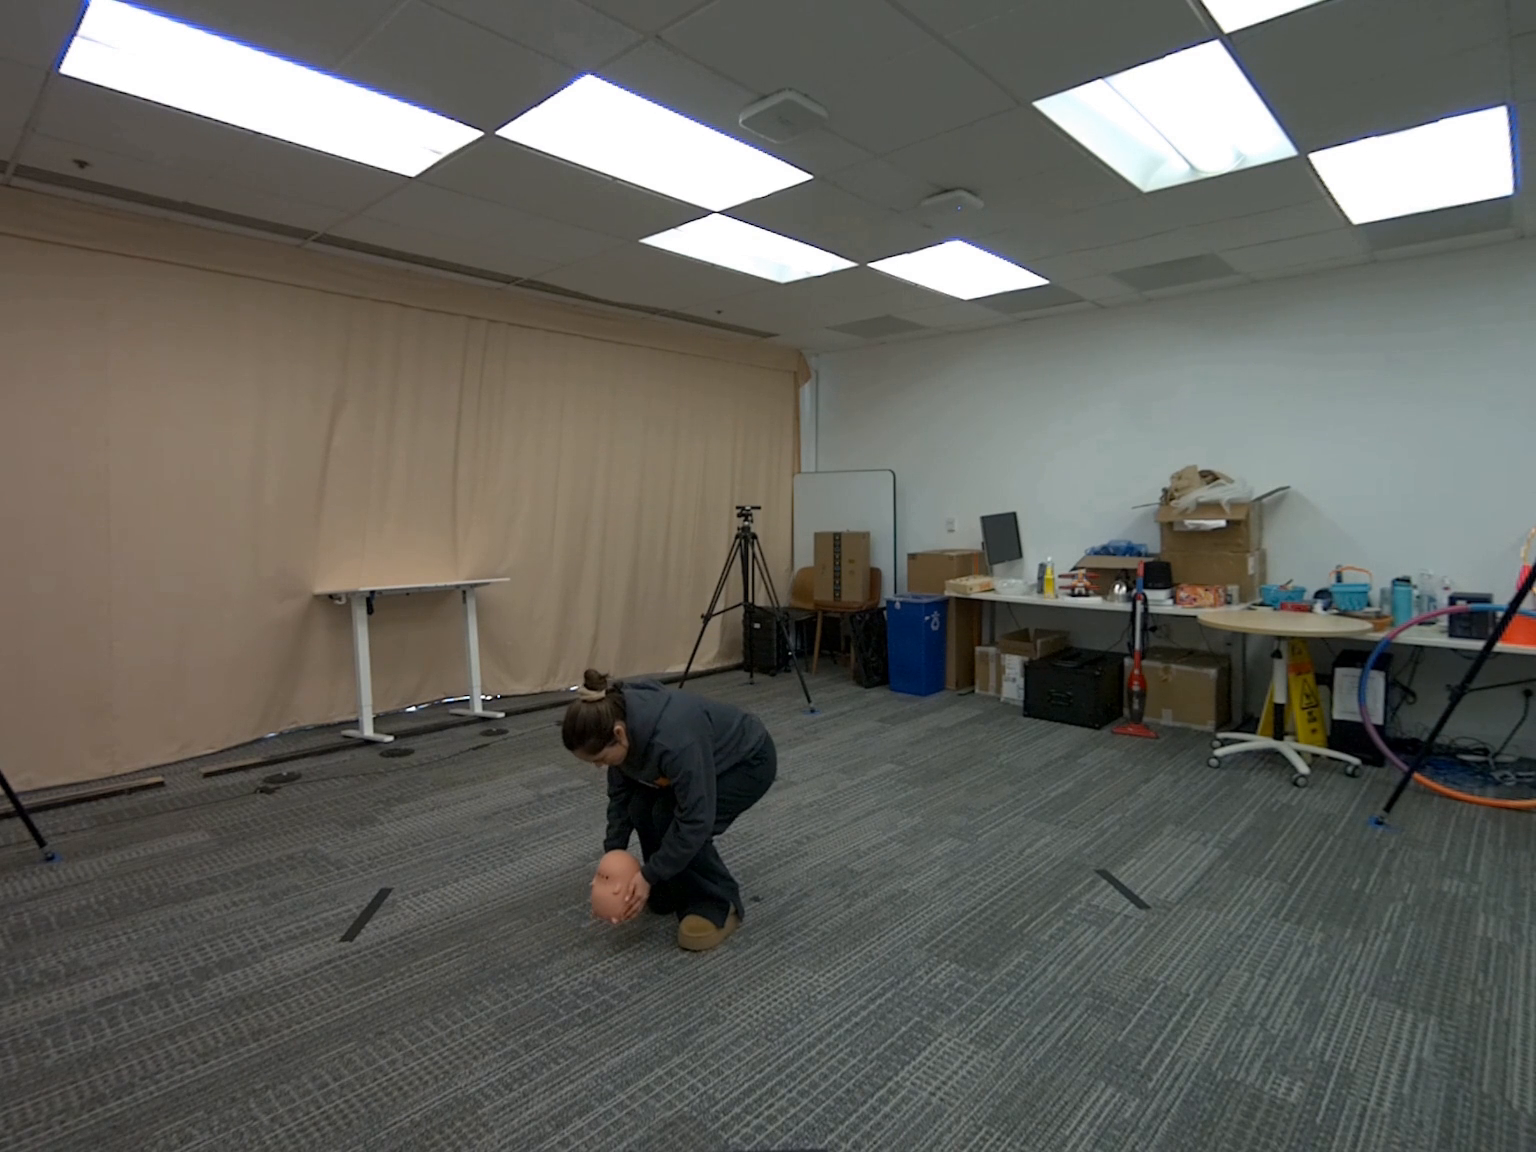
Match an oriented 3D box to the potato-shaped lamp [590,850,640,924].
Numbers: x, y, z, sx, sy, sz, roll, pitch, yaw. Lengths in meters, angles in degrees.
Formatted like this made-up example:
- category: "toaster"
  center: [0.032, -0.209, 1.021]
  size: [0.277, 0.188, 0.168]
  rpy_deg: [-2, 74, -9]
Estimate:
- category: "potato-shaped lamp"
  center: [-0.459, 0.972, 2.667]
  size: [0.166, 0.198, 0.170]
  rpy_deg: [-7, 4, -45]
